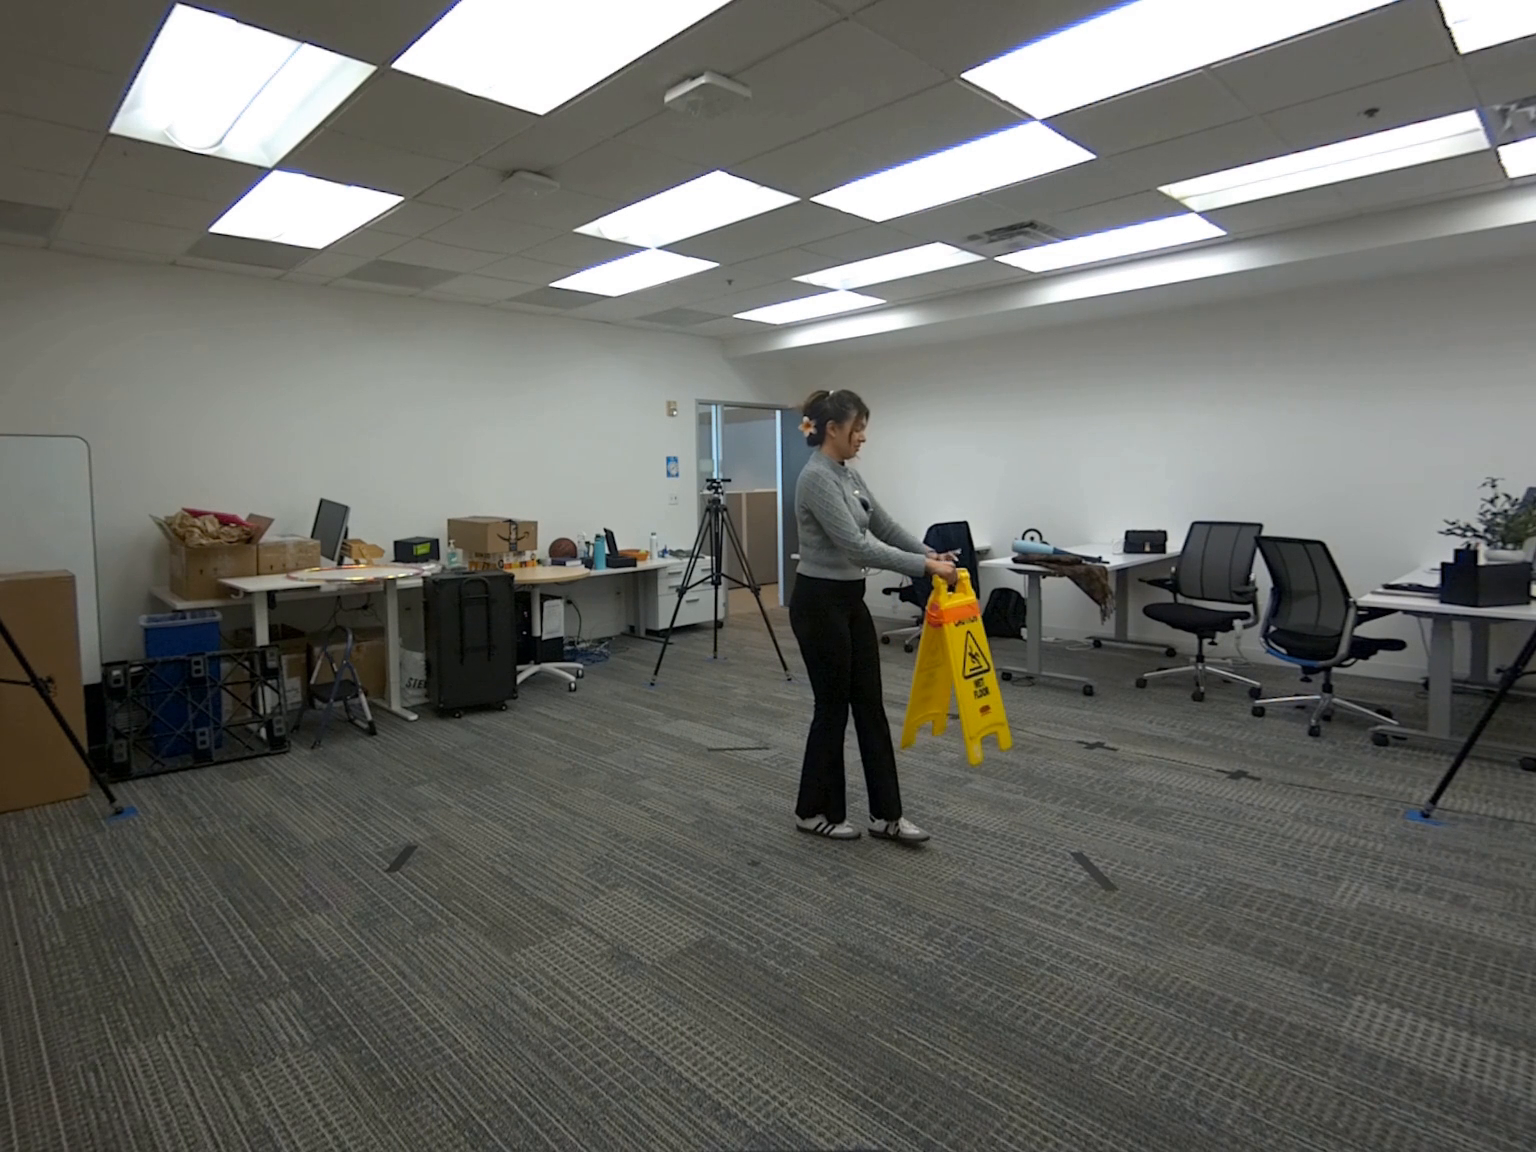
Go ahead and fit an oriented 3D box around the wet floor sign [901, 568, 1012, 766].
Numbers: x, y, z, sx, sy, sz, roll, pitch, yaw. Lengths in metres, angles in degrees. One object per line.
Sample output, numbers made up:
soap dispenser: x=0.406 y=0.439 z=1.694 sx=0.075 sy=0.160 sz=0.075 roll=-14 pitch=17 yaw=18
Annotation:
wet floor sign: x=0.674 y=0.300 z=3.072 sx=0.275 sy=0.643 sz=0.298 roll=-8 pitch=7 yaw=-43
